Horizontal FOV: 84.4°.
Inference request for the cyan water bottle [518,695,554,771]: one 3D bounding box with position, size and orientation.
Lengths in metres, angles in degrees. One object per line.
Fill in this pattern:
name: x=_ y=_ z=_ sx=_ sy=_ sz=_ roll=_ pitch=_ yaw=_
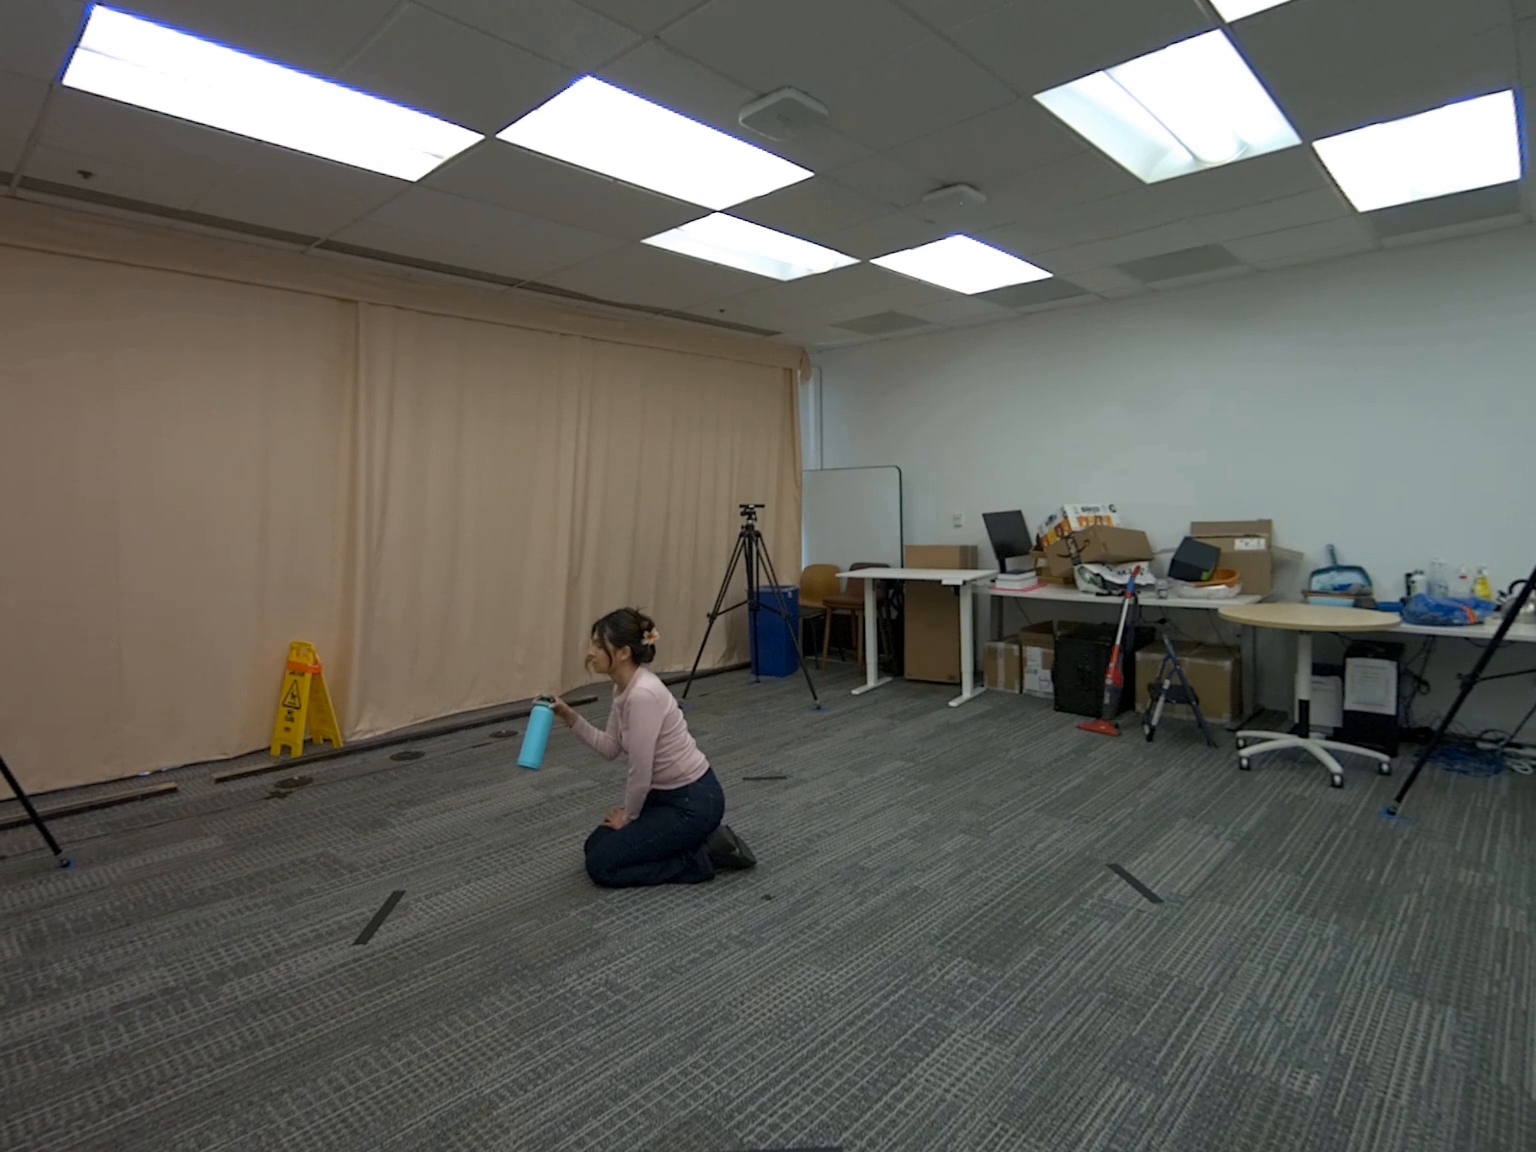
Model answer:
cyan water bottle: x=-0.878 y=0.595 z=3.230 sx=0.092 sy=0.286 sz=0.091 roll=8 pitch=-22 yaw=2
